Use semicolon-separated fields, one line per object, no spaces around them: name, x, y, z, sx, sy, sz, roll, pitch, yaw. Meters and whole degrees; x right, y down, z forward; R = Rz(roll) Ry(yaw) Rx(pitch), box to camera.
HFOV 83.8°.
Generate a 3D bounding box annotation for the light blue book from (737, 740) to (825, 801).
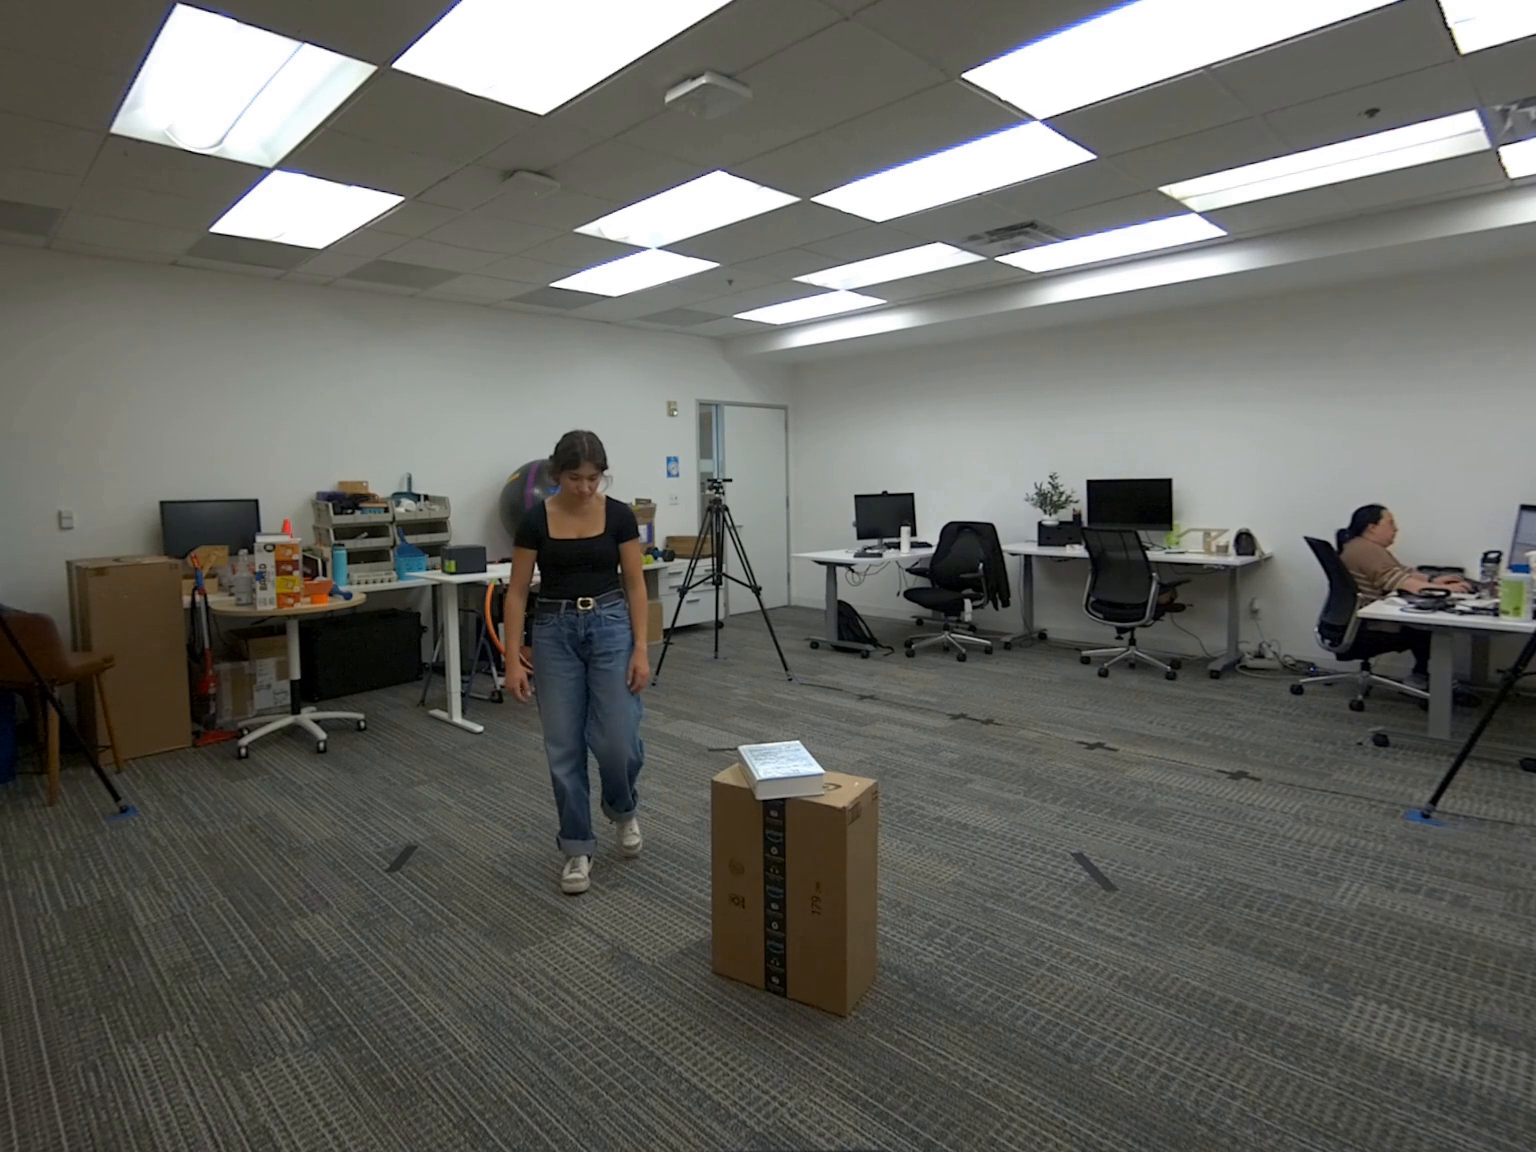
light blue book;0.035;0.539;2.365;0.189;0.059;0.265;-3;7;-12
